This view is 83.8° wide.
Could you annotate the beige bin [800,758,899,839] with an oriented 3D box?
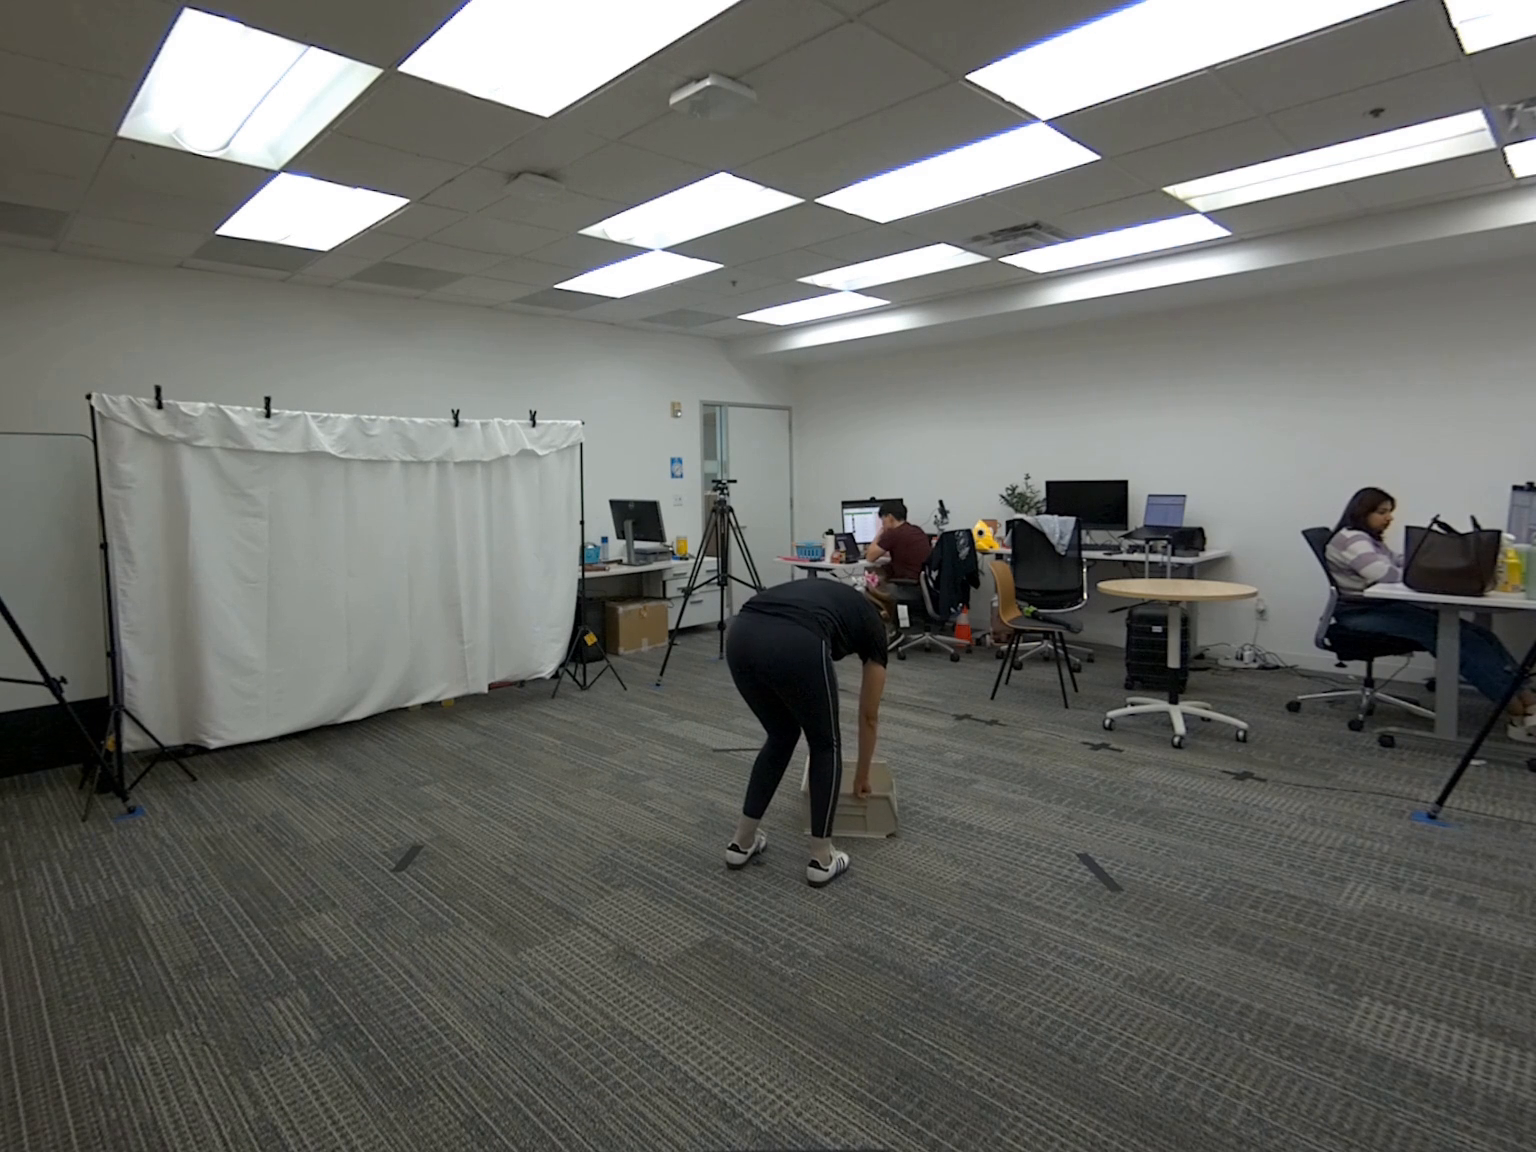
[{"bbox_3d":[0.341,0.905,3.531,0.381,0.188,0.421,-1,7,8],"label":"beige bin"}]
